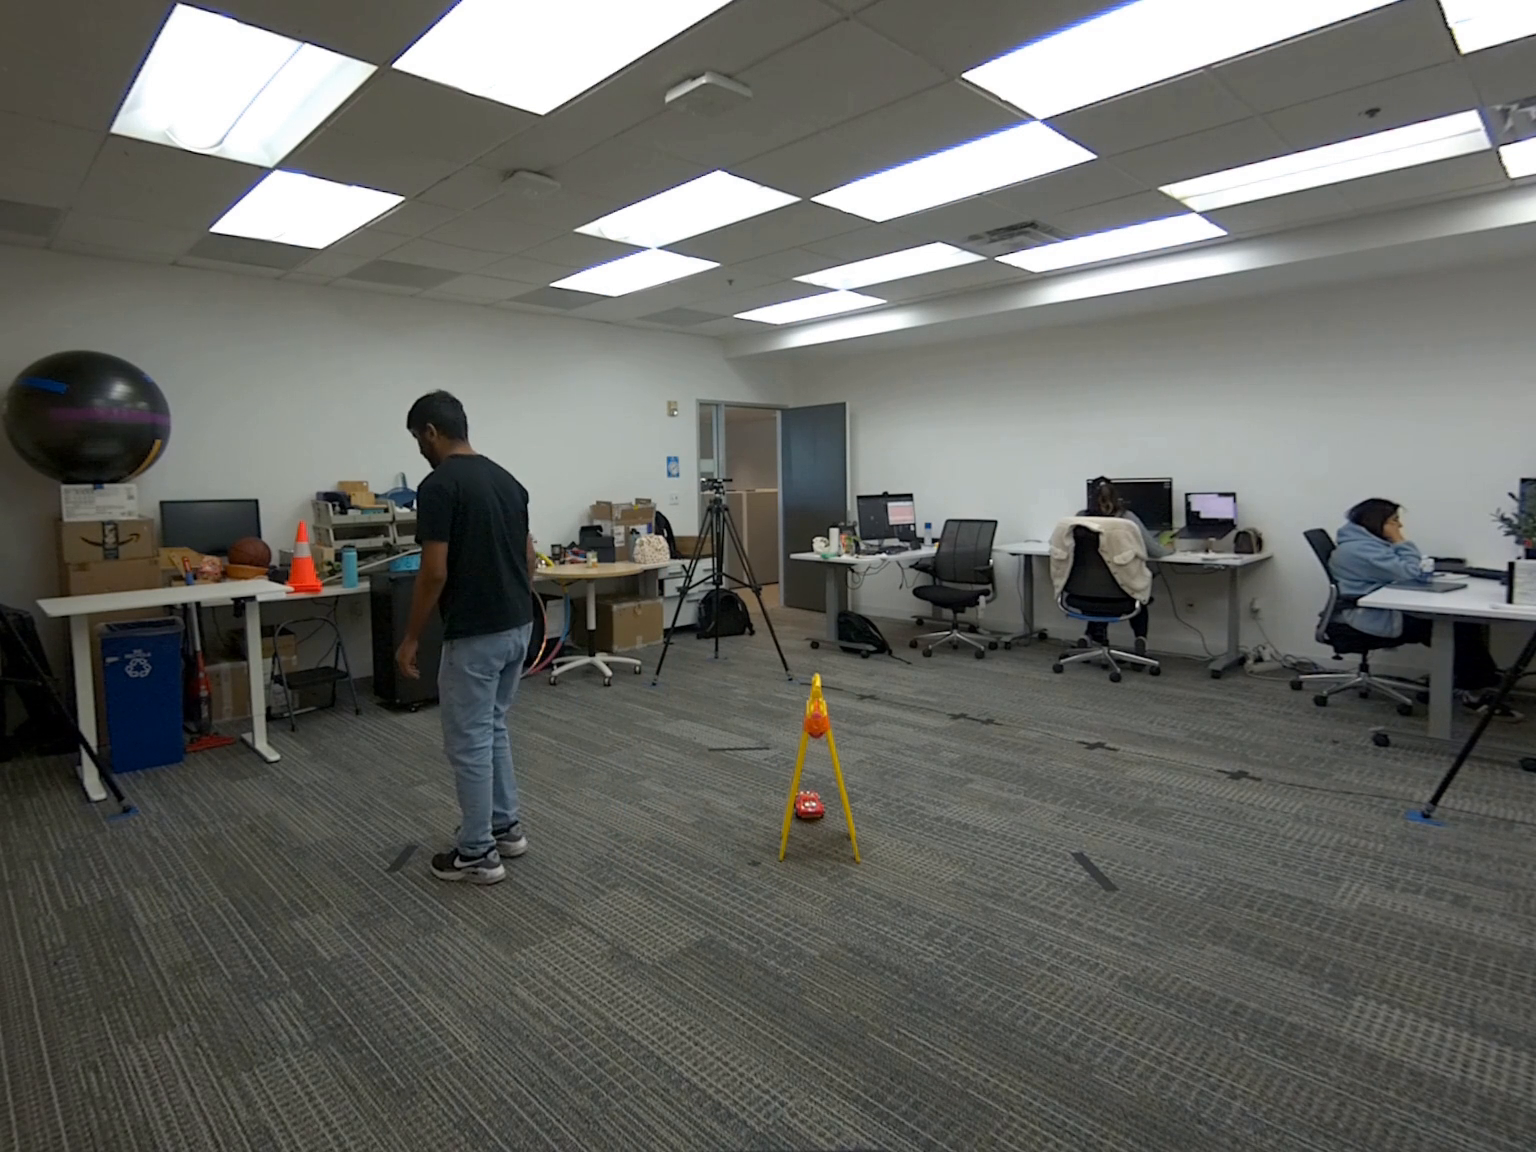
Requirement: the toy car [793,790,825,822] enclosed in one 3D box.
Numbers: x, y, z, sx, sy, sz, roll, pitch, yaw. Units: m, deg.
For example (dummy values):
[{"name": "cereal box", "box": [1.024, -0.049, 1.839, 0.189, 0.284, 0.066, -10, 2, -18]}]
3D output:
[{"name": "toy car", "box": [0.171, 0.958, 3.571, 0.130, 0.084, 0.253, -1, -5, -2]}]
